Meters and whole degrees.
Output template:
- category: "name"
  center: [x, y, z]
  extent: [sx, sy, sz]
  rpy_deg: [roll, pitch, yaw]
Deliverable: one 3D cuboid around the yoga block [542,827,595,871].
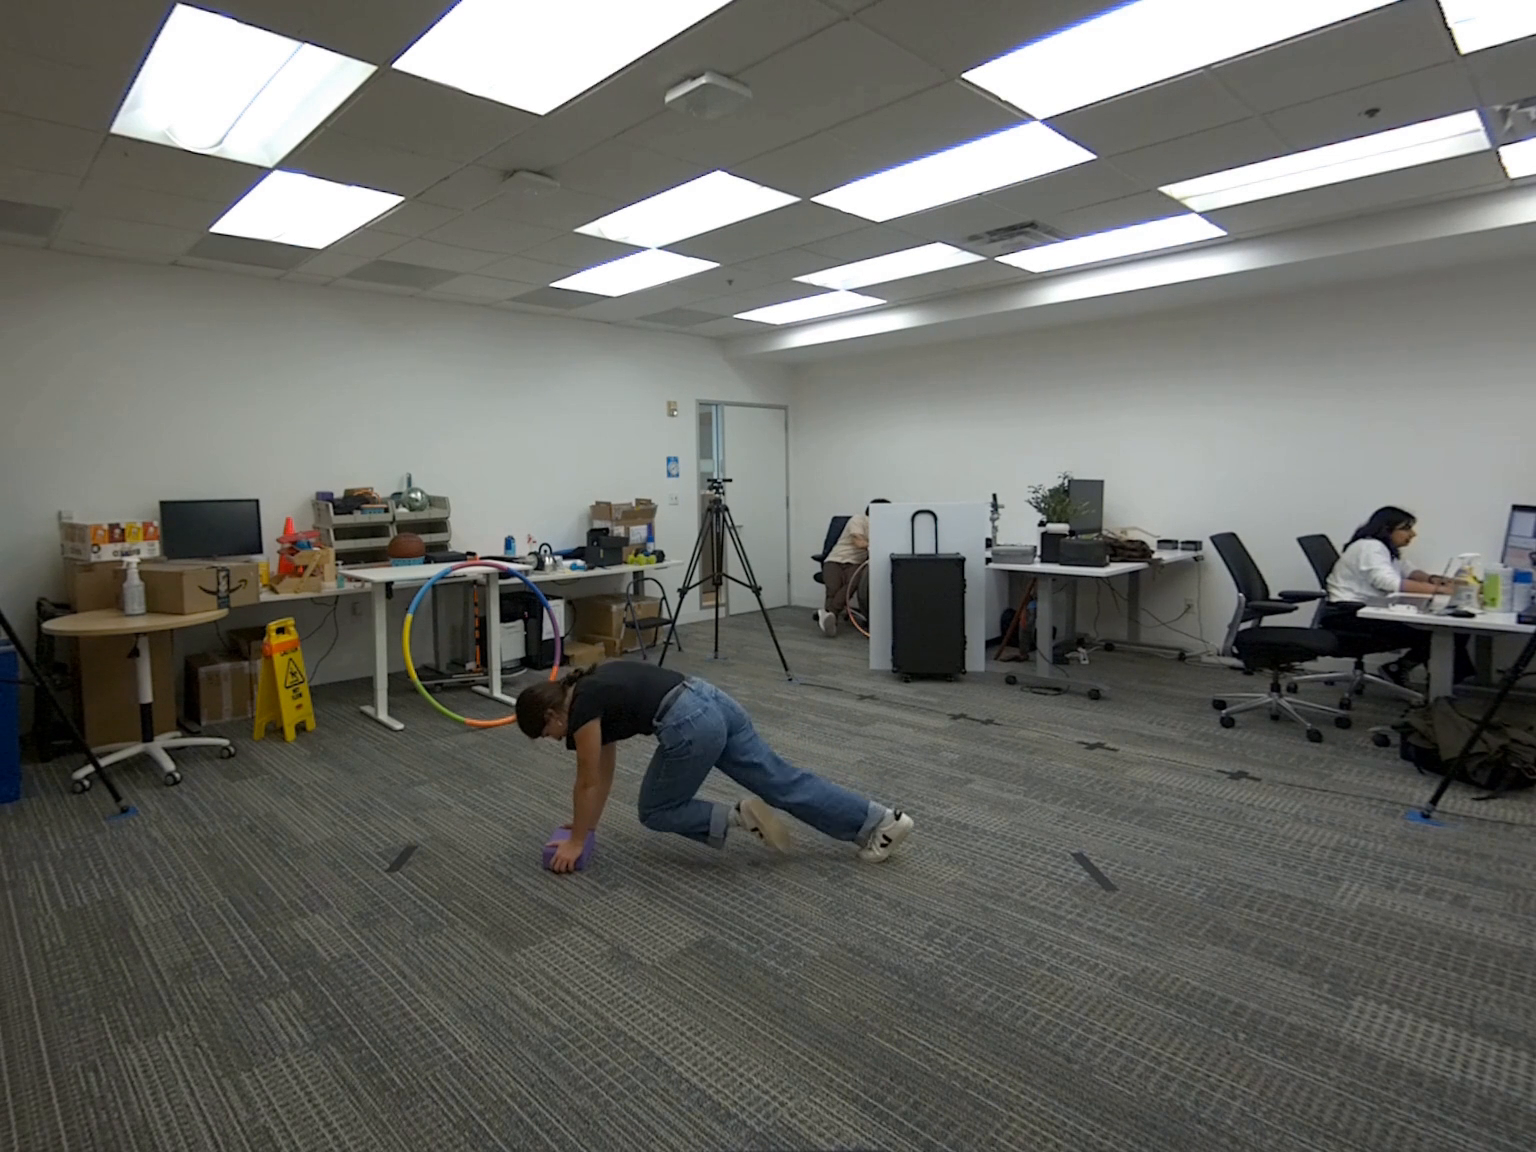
- category: "yoga block"
  center: [-0.742, 1.011, 3.198]
  extent: [0.149, 0.076, 0.230]
  rpy_deg: [1, 7, 1]
